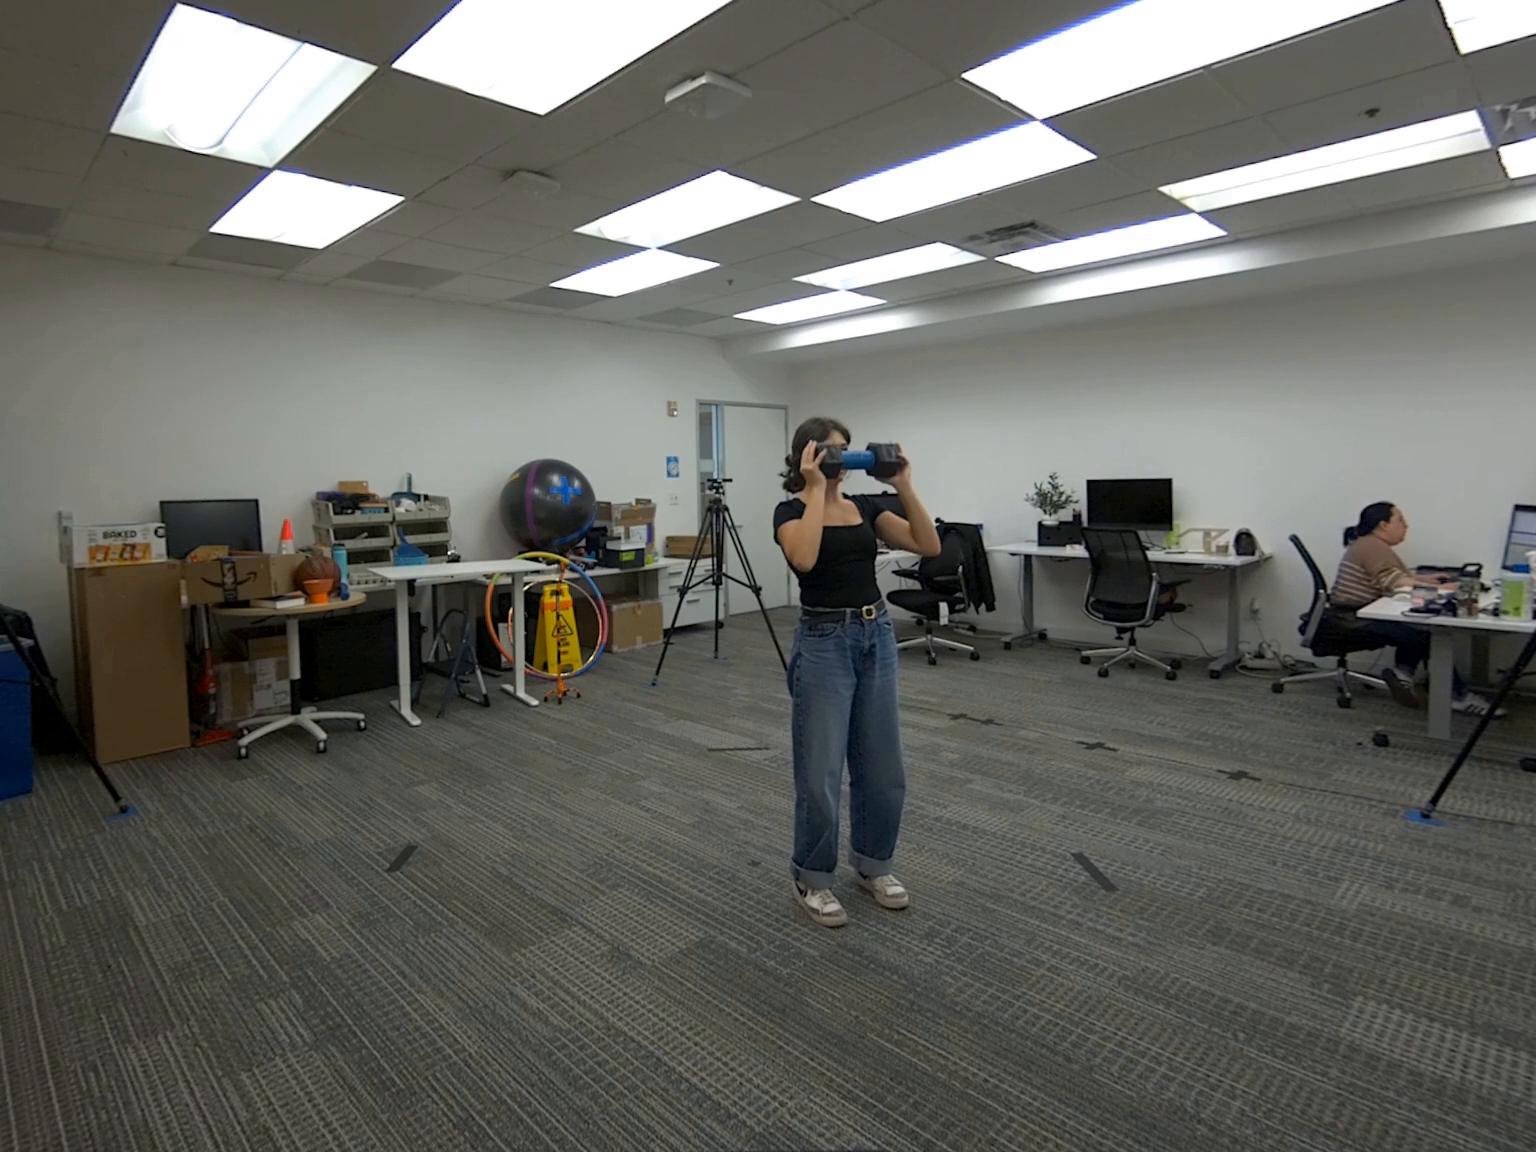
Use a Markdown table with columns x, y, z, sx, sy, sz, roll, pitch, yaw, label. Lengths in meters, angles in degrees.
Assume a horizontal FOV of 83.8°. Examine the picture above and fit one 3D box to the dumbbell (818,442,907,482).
| x | y | z | sx | sy | sz | roll | pitch | yaw | label |
| --- | --- | --- | --- | --- | --- | --- | --- | --- | --- |
| 0.261 | -0.366 | 2.647 | 0.287 | 0.121 | 0.113 | -2 | 42 | -25 | dumbbell |
